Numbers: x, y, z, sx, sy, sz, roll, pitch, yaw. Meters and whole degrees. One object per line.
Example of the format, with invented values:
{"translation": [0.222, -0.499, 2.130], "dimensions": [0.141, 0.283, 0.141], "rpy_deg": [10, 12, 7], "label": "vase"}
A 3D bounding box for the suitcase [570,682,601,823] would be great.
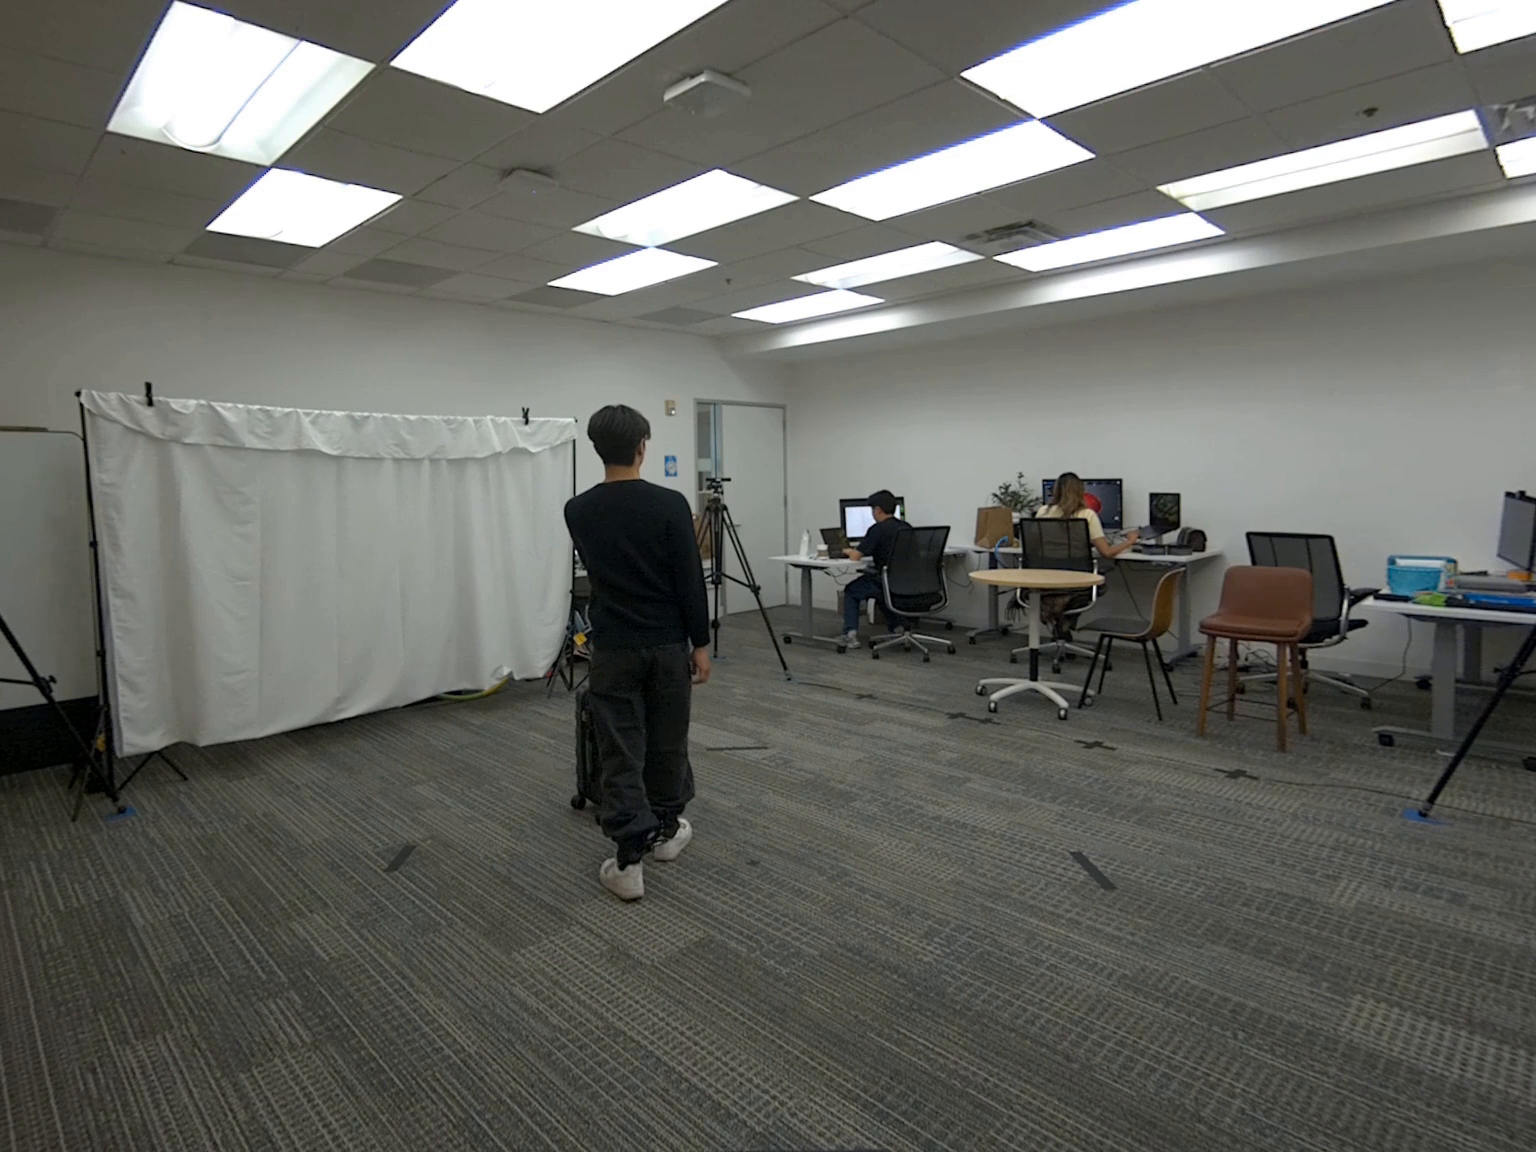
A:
{"translation": [-0.643, 0.514, 3.676], "dimensions": [0.374, 0.979, 0.264], "rpy_deg": [-1, -1, -36], "label": "suitcase"}
